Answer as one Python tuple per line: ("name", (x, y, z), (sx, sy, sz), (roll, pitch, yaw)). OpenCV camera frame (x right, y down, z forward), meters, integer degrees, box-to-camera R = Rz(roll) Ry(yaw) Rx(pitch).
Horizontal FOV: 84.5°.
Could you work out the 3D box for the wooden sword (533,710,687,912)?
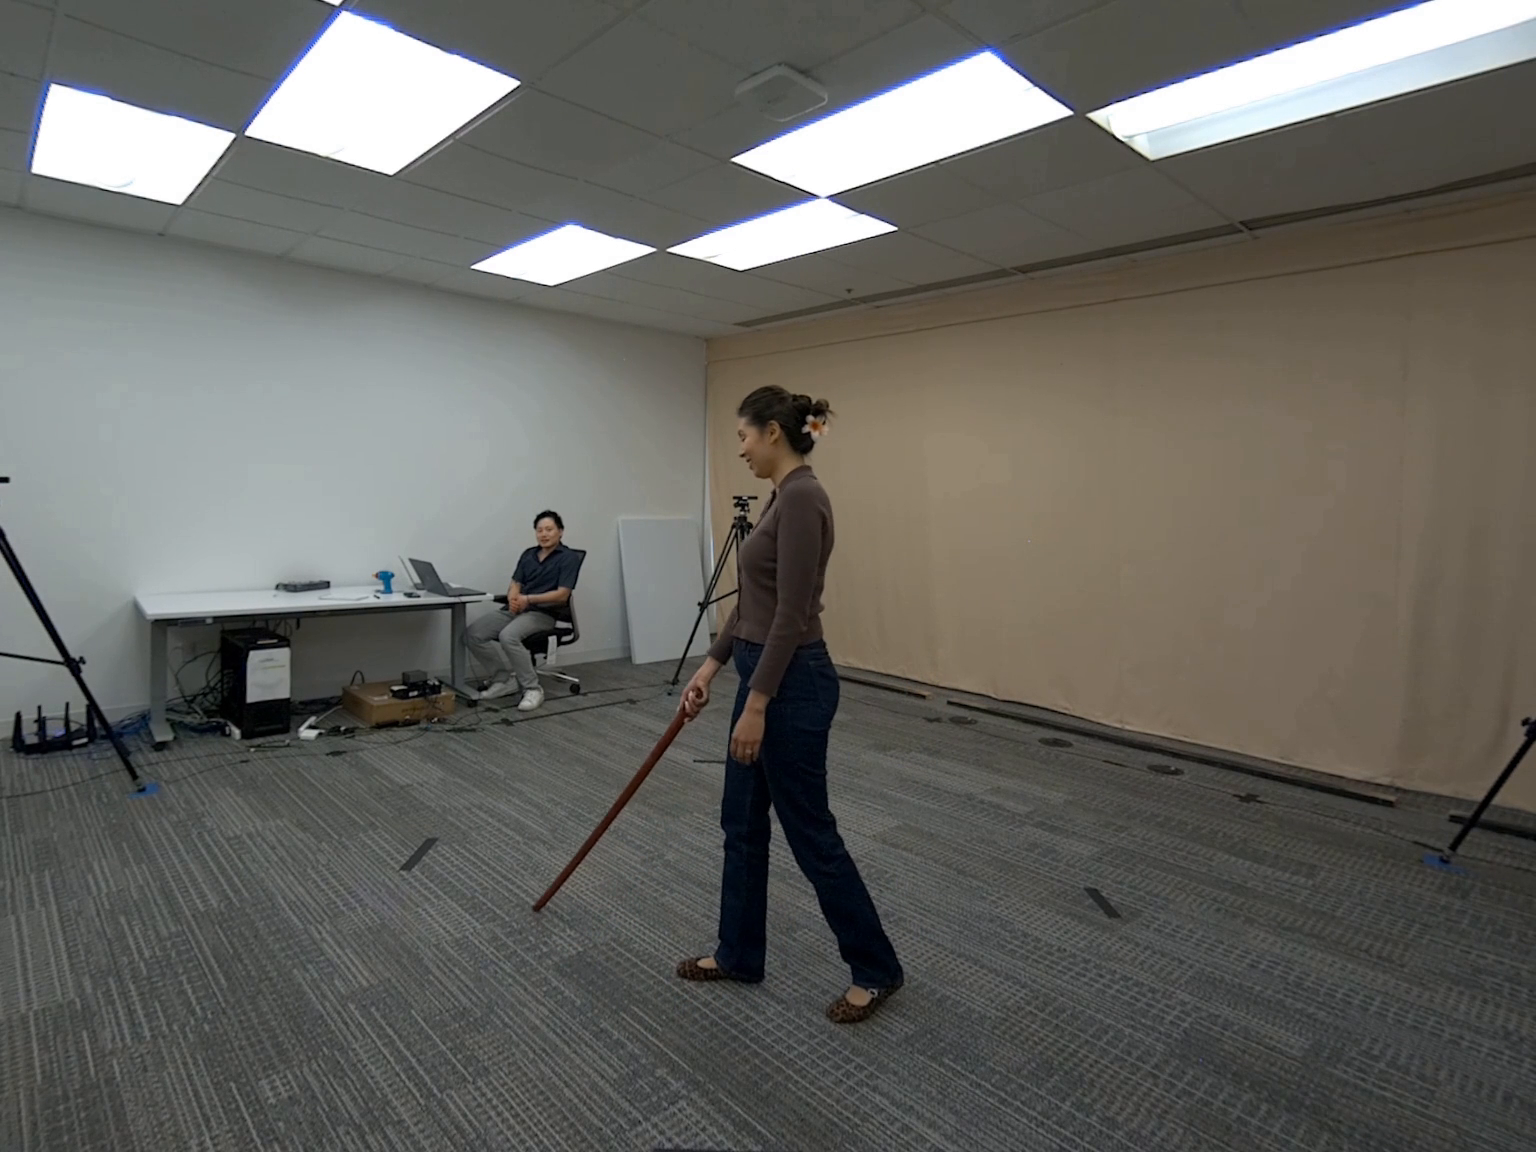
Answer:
("wooden sword", (-0.495, 0.739, 2.629), (0.024, 1.022, 0.051), (39, 18, 6))
